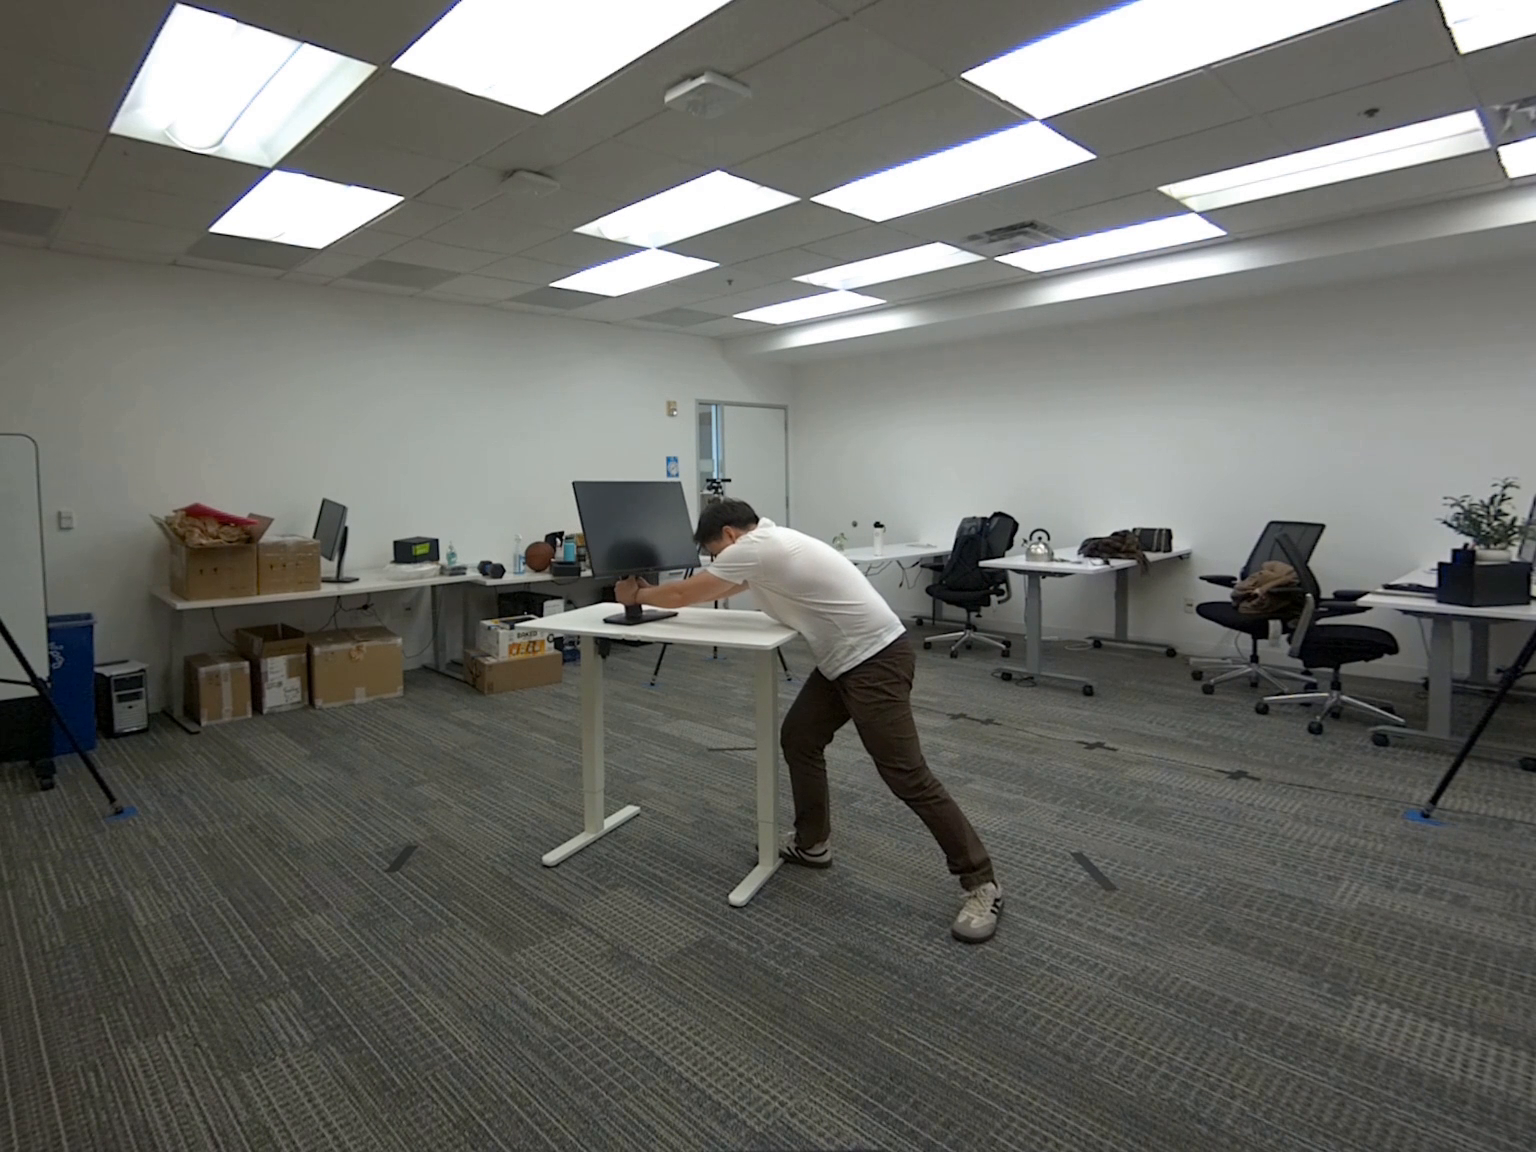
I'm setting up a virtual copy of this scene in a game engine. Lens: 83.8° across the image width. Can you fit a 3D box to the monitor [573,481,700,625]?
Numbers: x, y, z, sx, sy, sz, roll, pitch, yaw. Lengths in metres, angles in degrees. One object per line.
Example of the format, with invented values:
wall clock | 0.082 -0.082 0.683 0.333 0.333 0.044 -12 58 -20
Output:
monitor | -0.493 -0.095 3.189 0.192 0.522 0.525 -3 2 38
